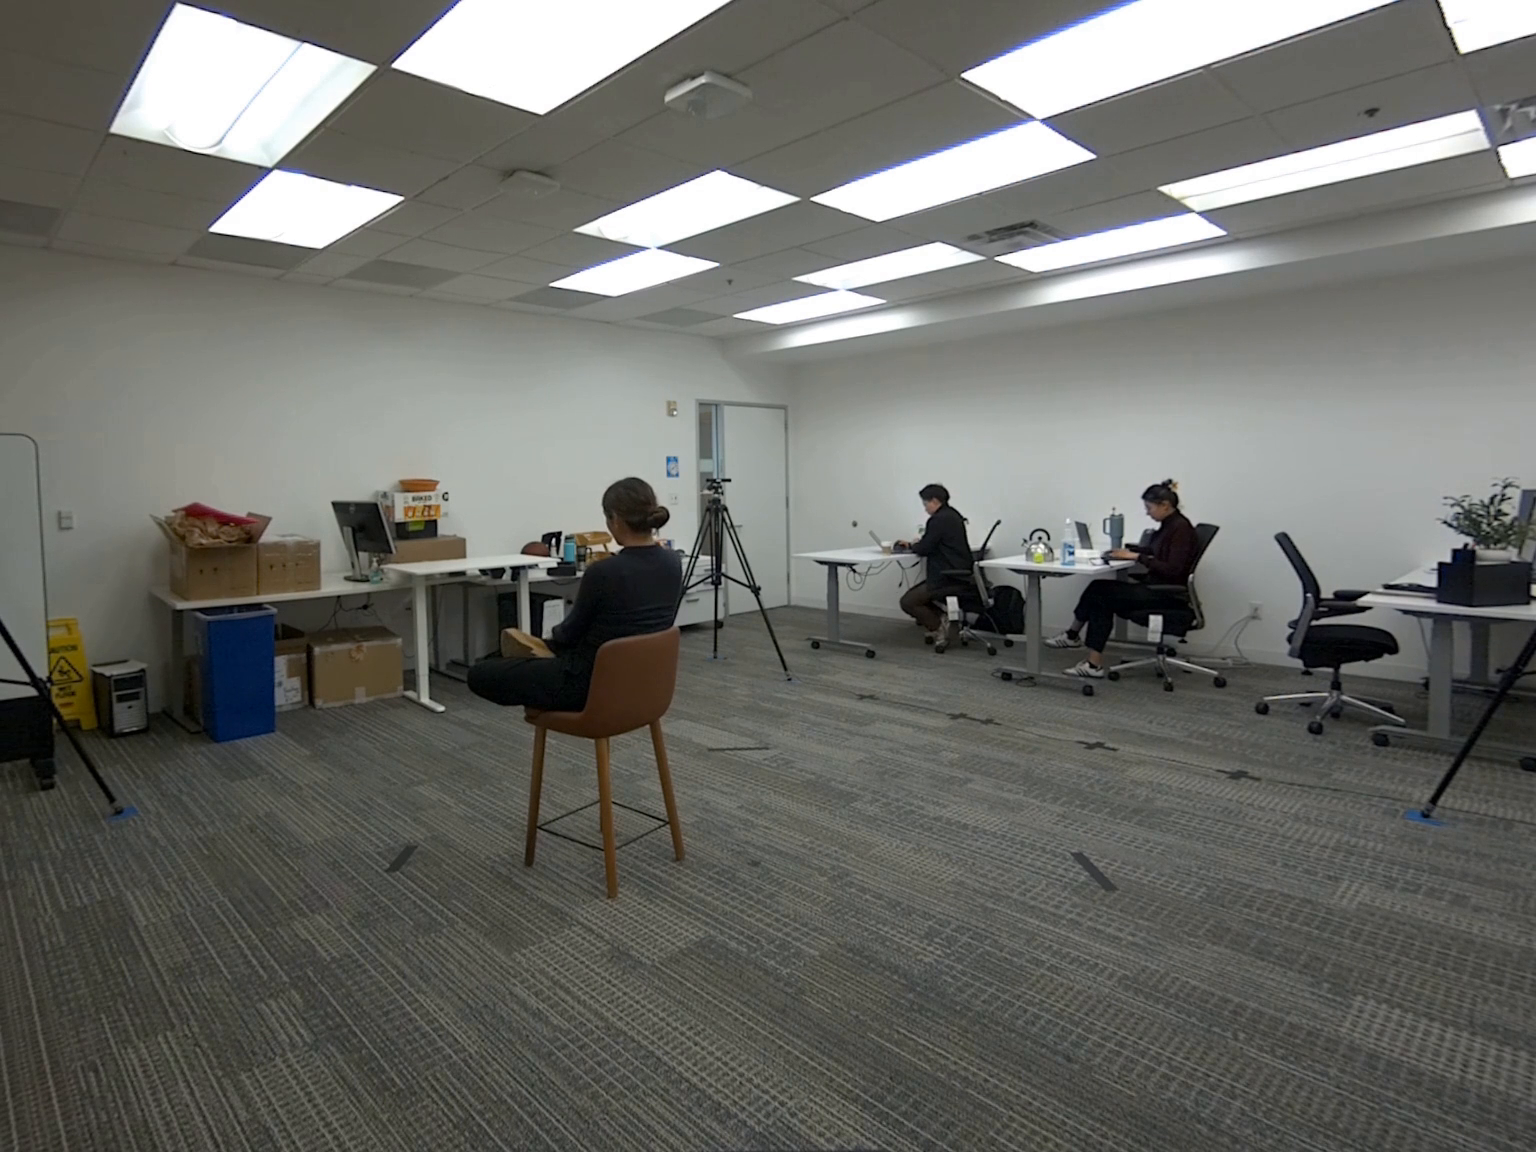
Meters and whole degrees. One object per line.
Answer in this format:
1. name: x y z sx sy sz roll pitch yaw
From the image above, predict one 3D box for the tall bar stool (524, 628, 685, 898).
1. tall bar stool: -0.594 0.620 3.110 0.482 0.885 0.445 4 7 37
